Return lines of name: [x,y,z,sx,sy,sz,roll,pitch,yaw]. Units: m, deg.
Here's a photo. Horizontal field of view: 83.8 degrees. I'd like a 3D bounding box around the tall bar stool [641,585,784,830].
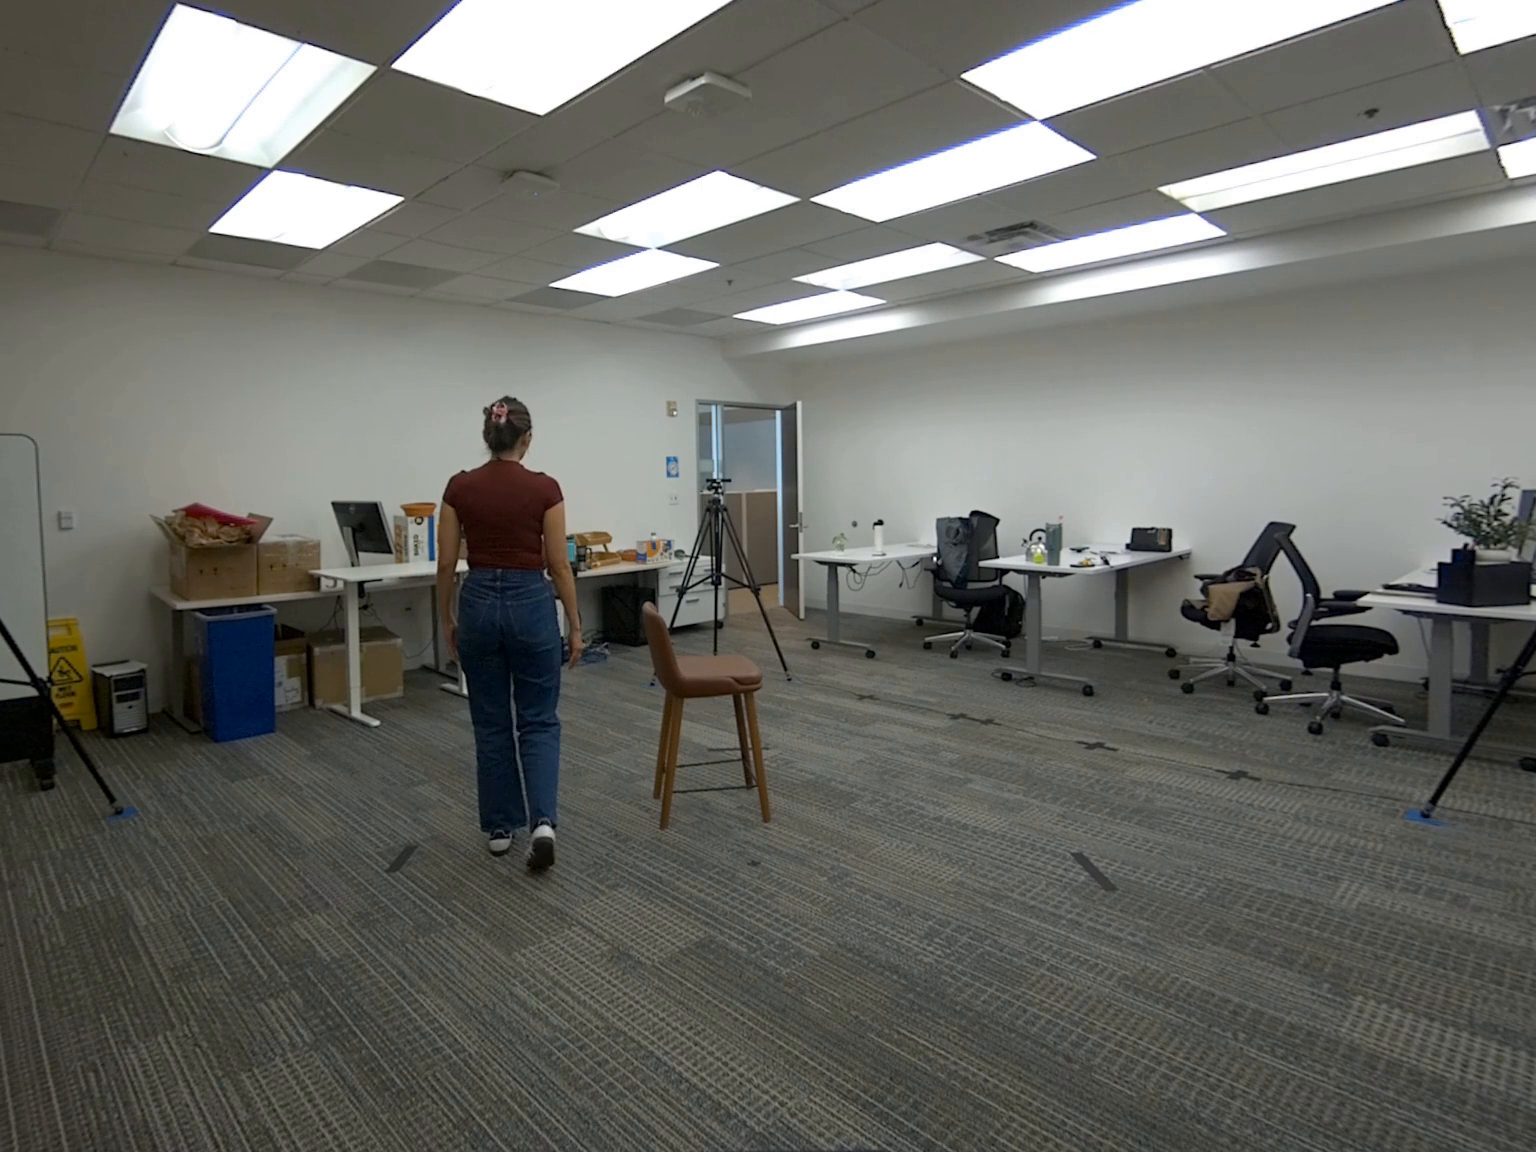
tall bar stool: [-0.269,0.558,3.616,0.463,0.887,0.462,-3,4,-11]
